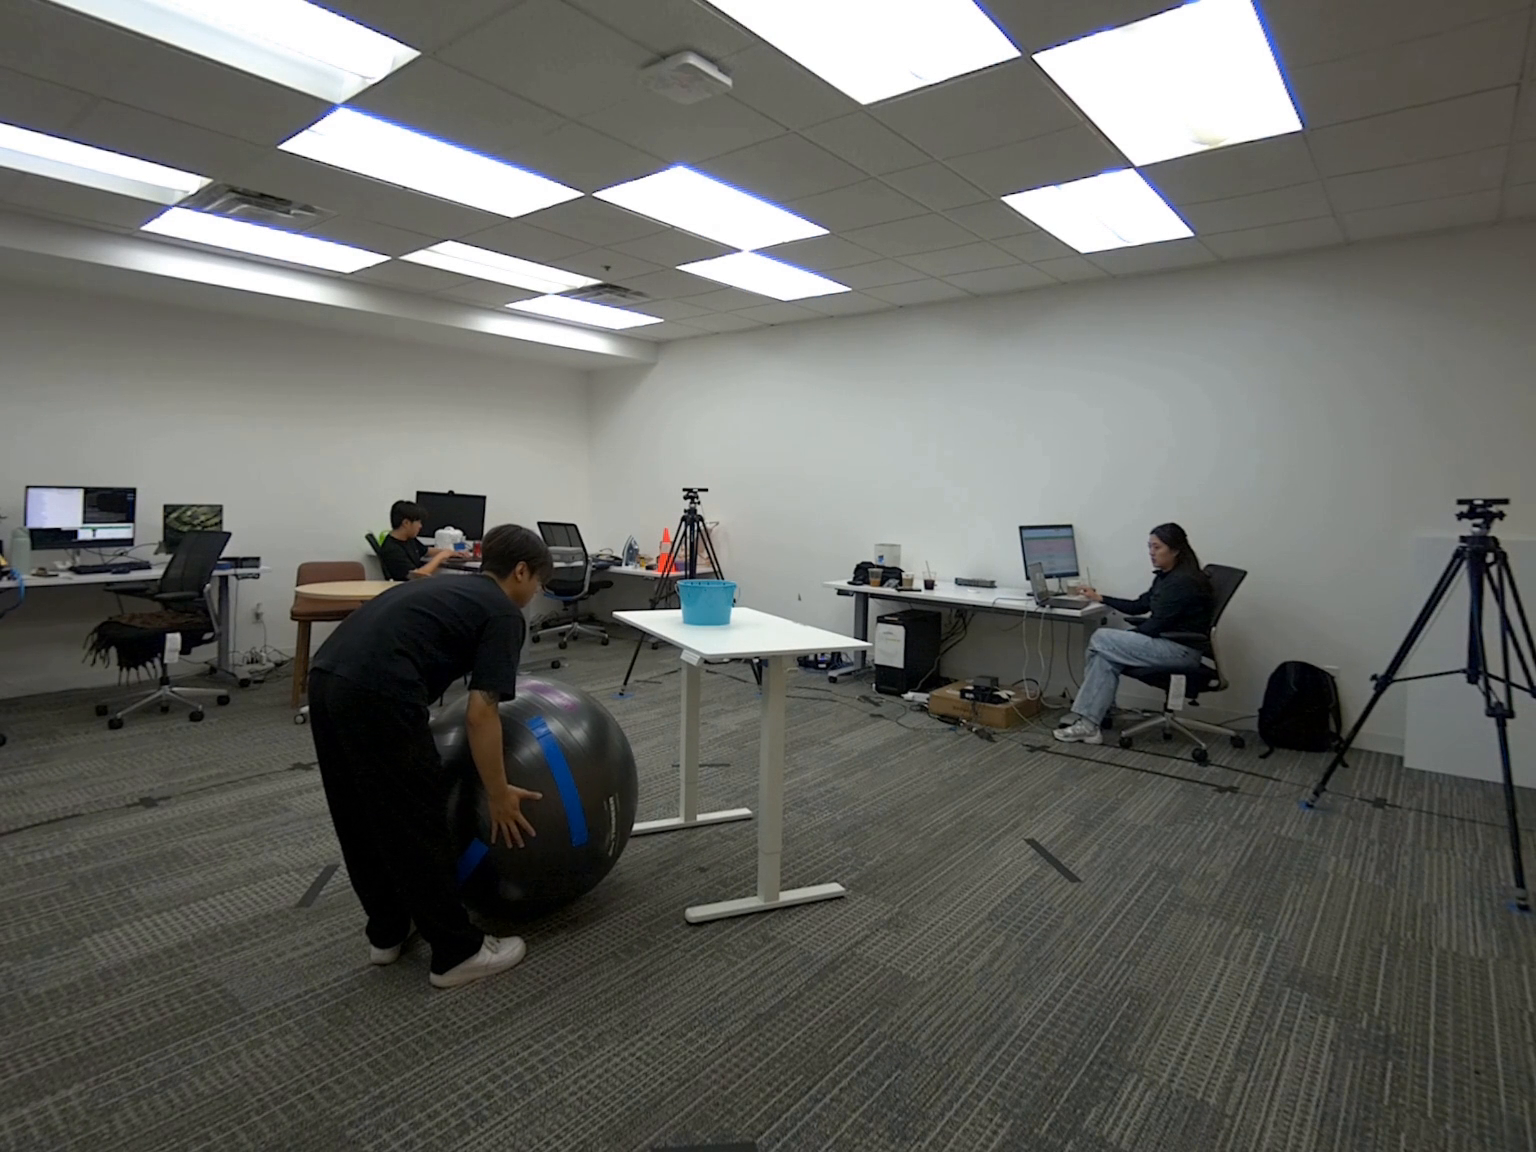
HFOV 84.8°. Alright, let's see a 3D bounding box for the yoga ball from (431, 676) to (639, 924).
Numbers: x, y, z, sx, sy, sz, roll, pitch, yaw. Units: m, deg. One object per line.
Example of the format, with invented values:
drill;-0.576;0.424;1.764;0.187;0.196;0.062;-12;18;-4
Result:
yoga ball;-0.814;0.721;2.826;0.757;0.756;0.762;1;4;-2
